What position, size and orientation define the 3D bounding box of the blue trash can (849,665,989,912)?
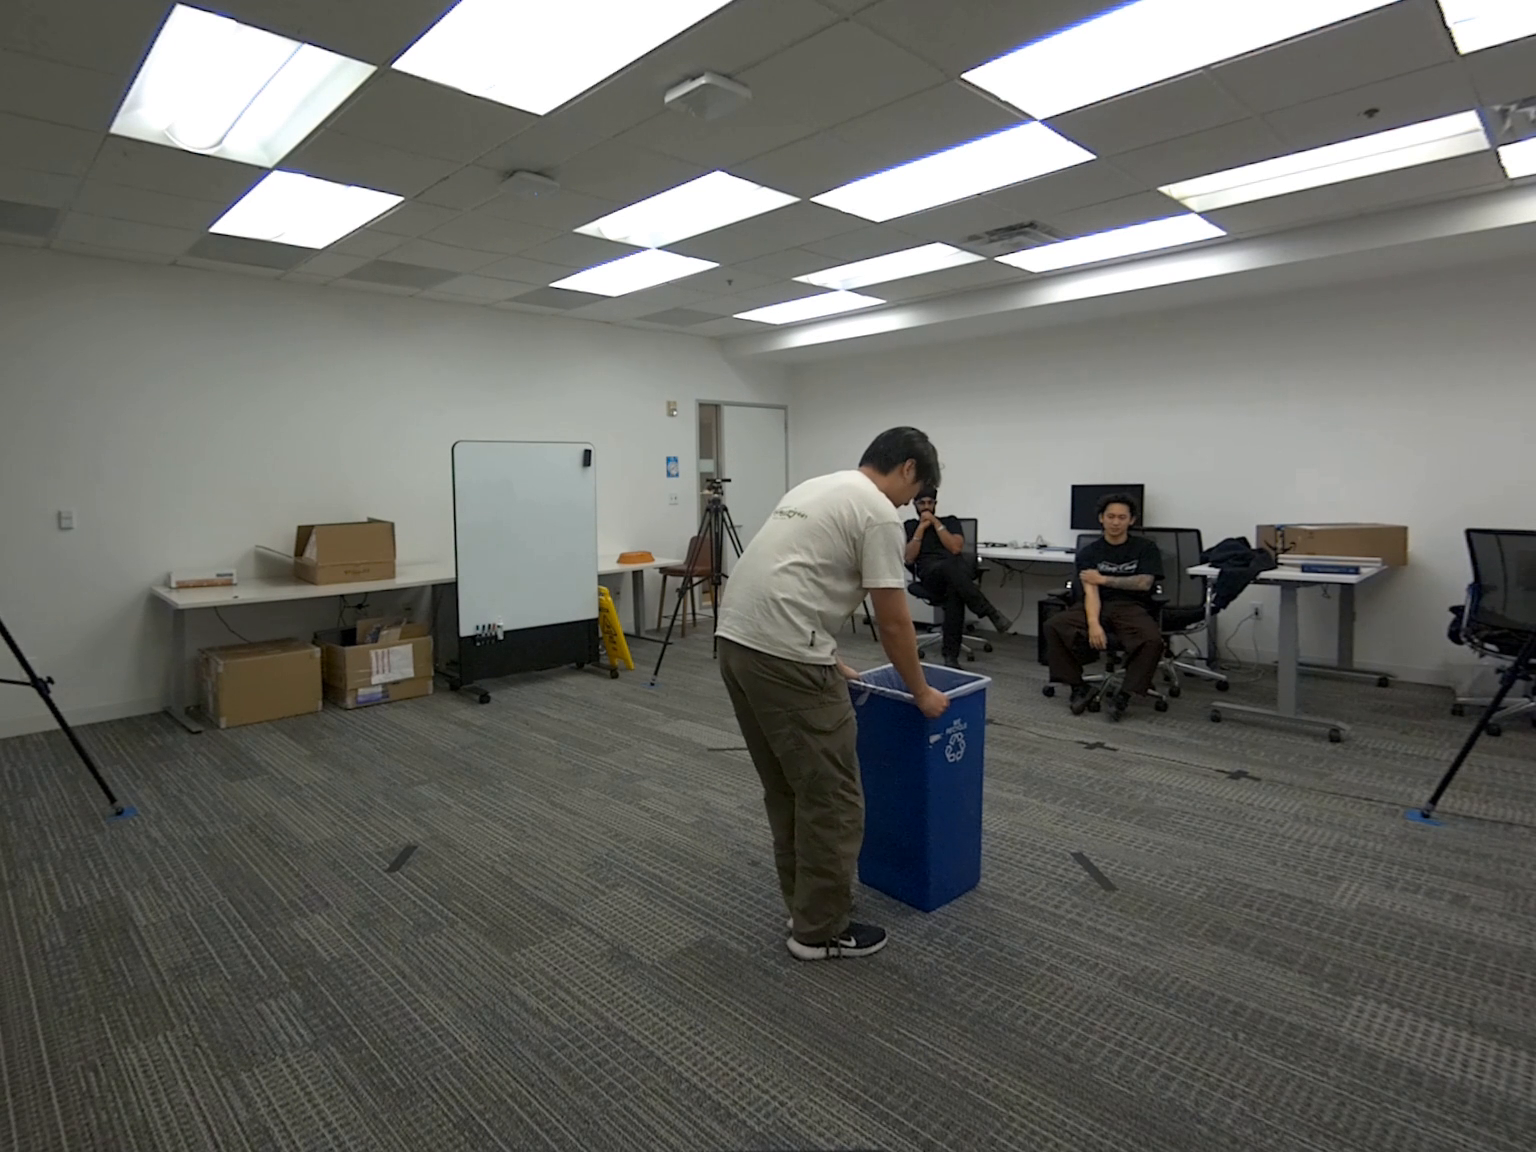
[{"bbox_3d":[0.511,0.694,2.905,0.365,0.709,0.390,-8,8,-41],"label":"blue trash can"}]
